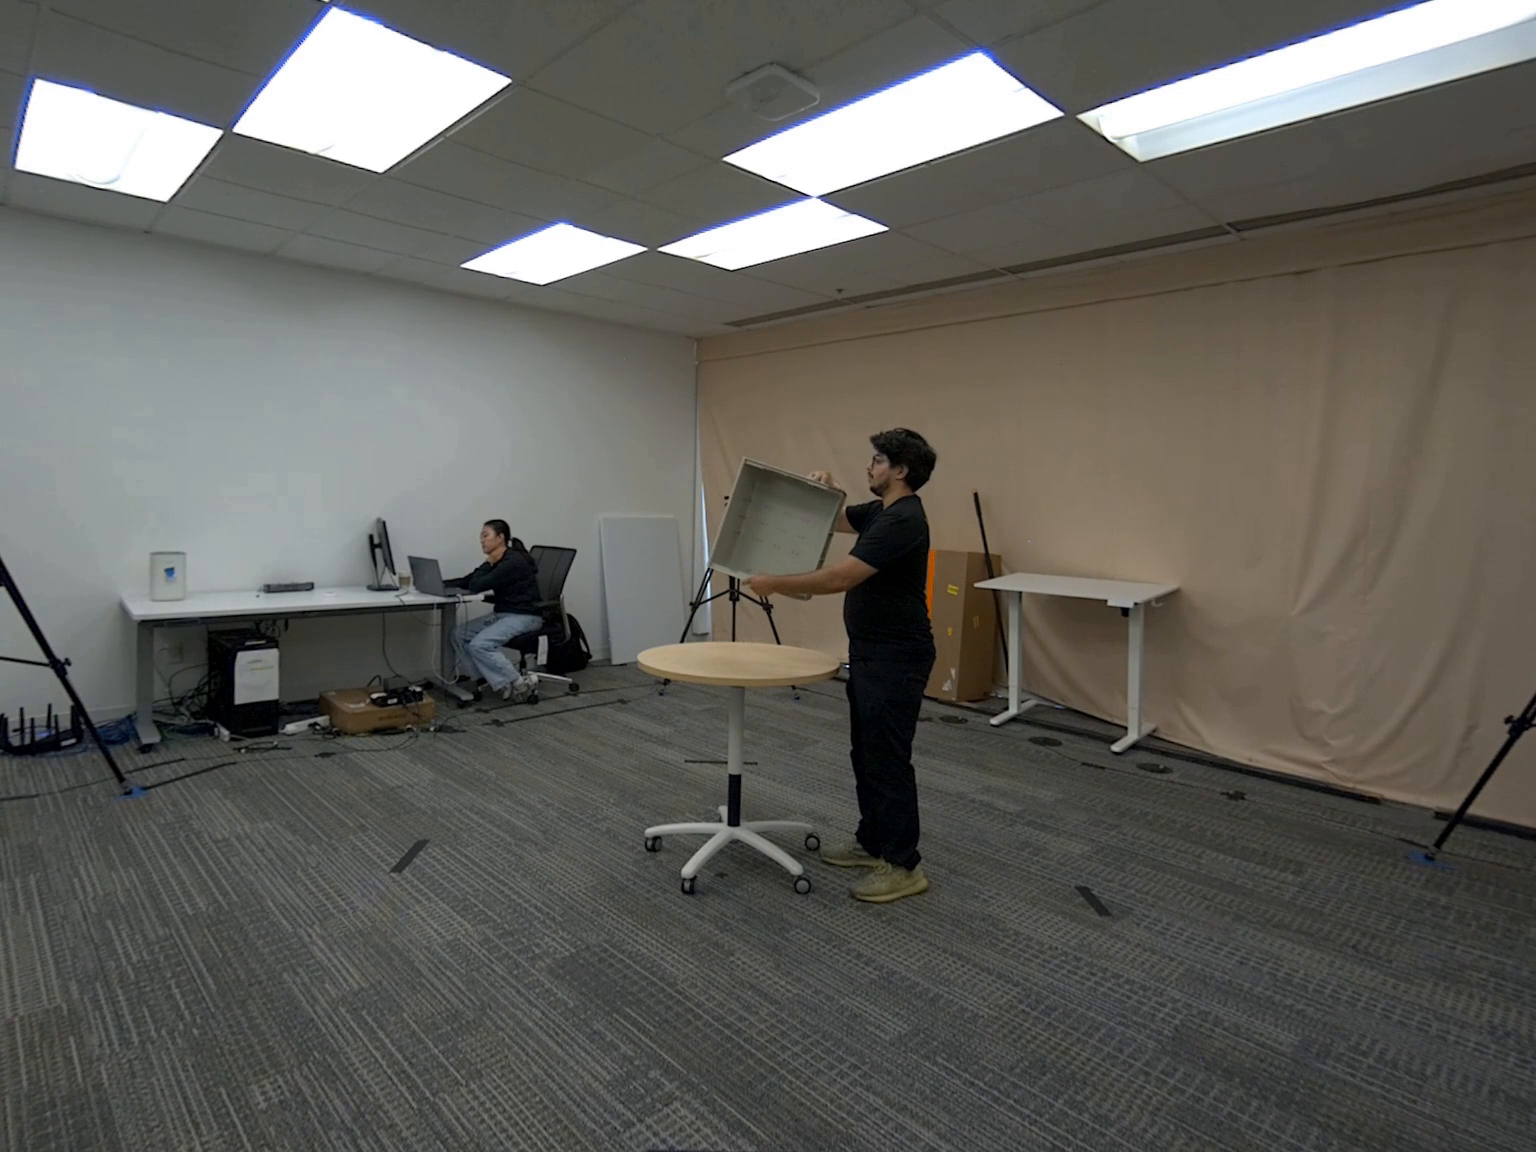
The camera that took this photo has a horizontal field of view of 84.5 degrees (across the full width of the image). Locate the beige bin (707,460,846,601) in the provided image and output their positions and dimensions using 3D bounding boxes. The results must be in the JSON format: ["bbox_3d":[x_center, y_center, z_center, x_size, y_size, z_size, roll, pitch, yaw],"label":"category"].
[{"bbox_3d":[0.032,-0.169,3.069,0.386,0.421,0.185,21,5,23],"label":"beige bin"}]
